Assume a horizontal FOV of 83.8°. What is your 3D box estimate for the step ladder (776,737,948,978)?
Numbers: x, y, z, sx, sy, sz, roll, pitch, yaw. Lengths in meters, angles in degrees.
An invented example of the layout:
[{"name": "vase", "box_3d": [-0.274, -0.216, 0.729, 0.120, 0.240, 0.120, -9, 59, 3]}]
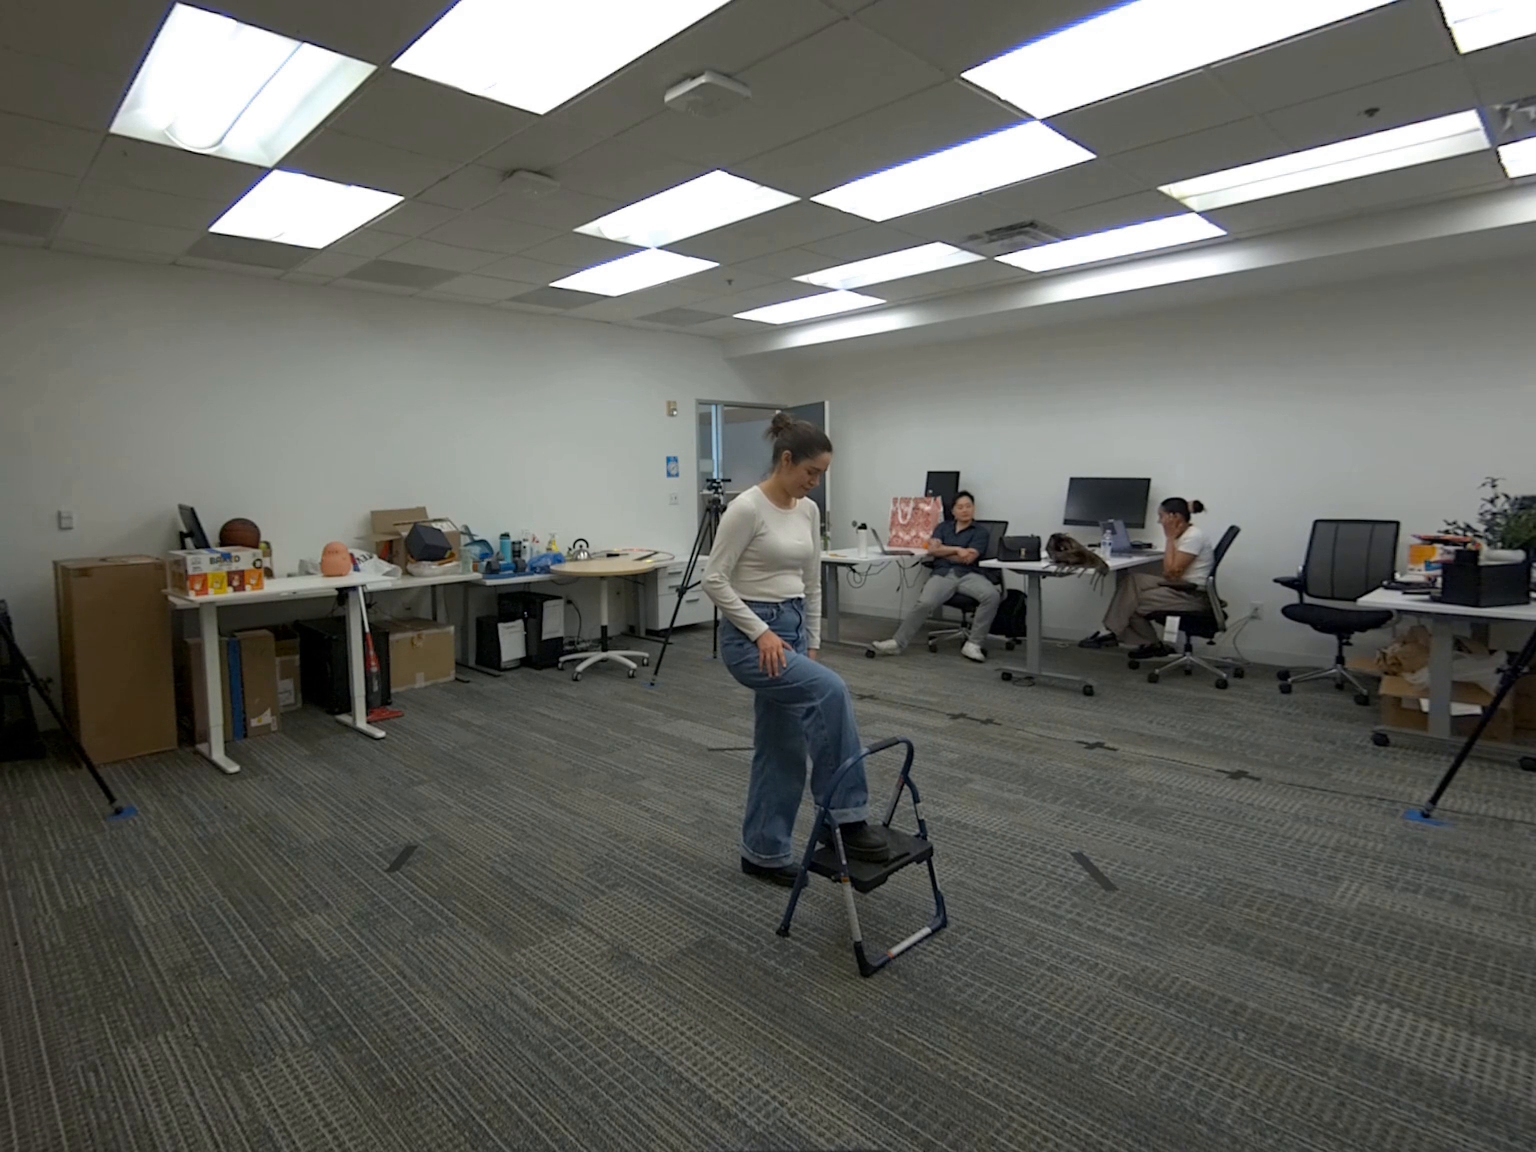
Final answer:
[{"name": "step ladder", "box_3d": [0.294, 0.792, 2.622, 0.360, 0.604, 0.419, 3, 7, 44]}]
